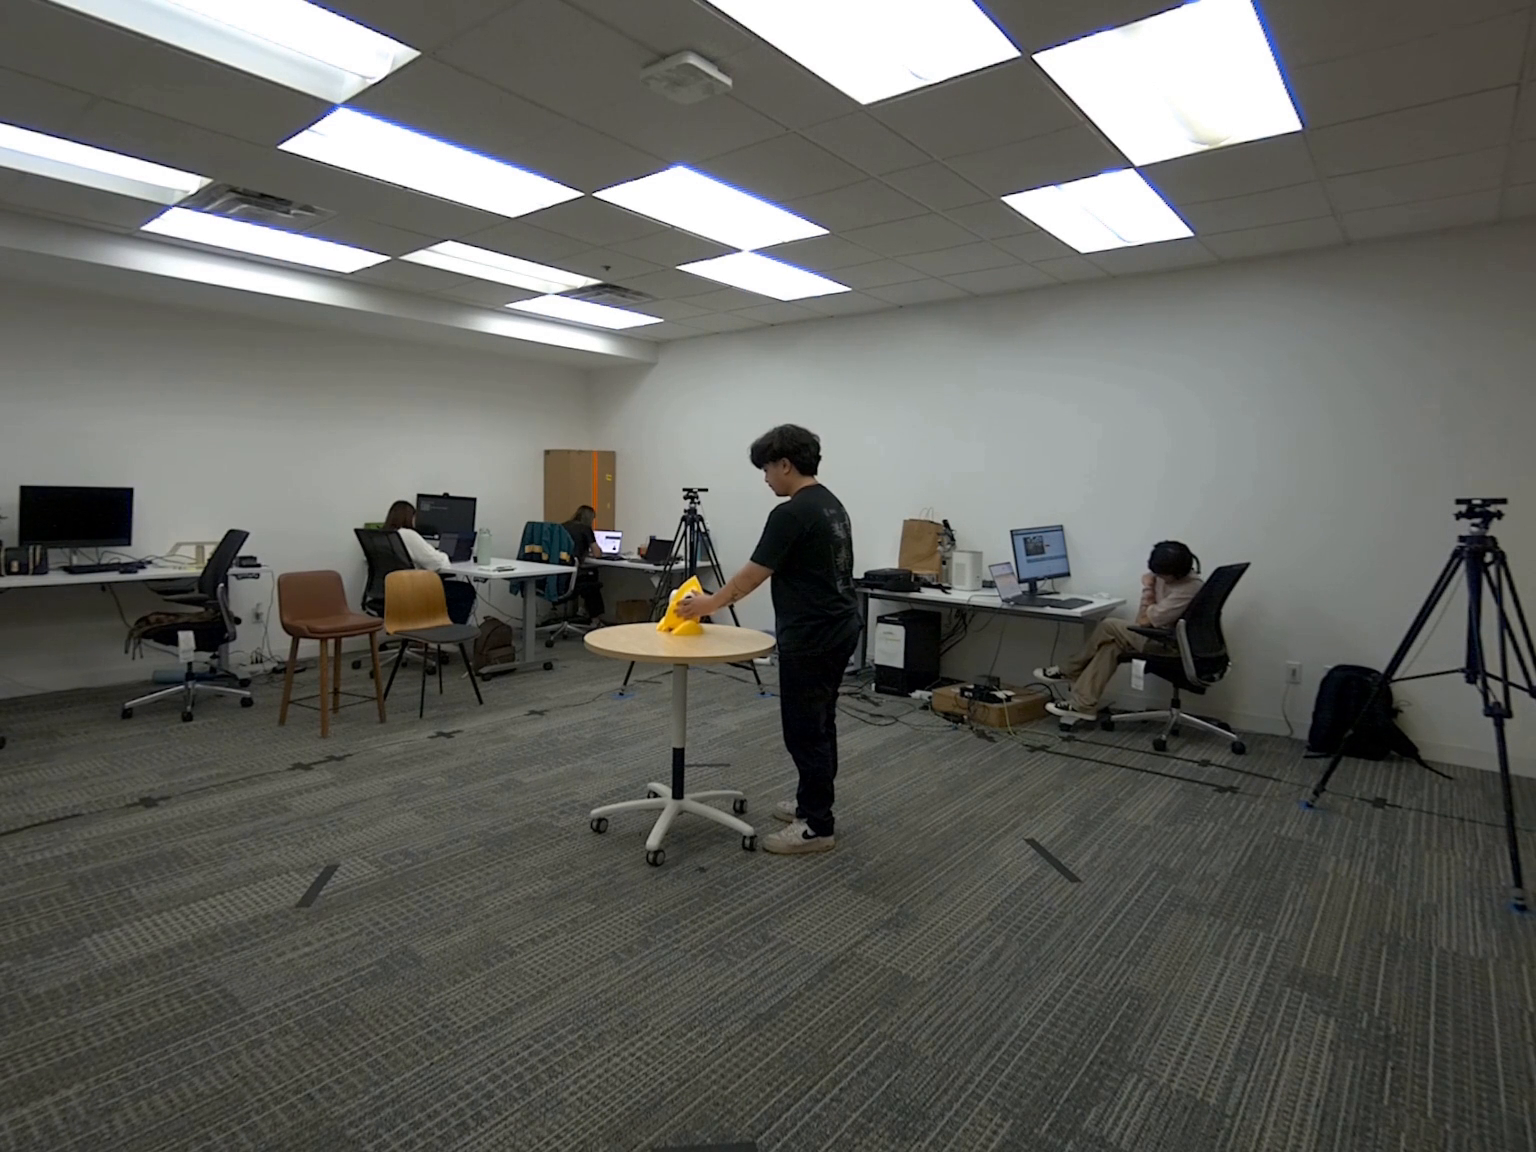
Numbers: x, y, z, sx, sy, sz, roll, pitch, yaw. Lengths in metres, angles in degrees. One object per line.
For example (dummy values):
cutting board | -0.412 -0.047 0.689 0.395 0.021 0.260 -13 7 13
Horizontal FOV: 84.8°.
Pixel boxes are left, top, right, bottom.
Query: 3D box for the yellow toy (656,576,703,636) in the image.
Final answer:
yellow toy | -0.371 0.114 3.586 0.187 0.230 0.212 -3 7 -38
